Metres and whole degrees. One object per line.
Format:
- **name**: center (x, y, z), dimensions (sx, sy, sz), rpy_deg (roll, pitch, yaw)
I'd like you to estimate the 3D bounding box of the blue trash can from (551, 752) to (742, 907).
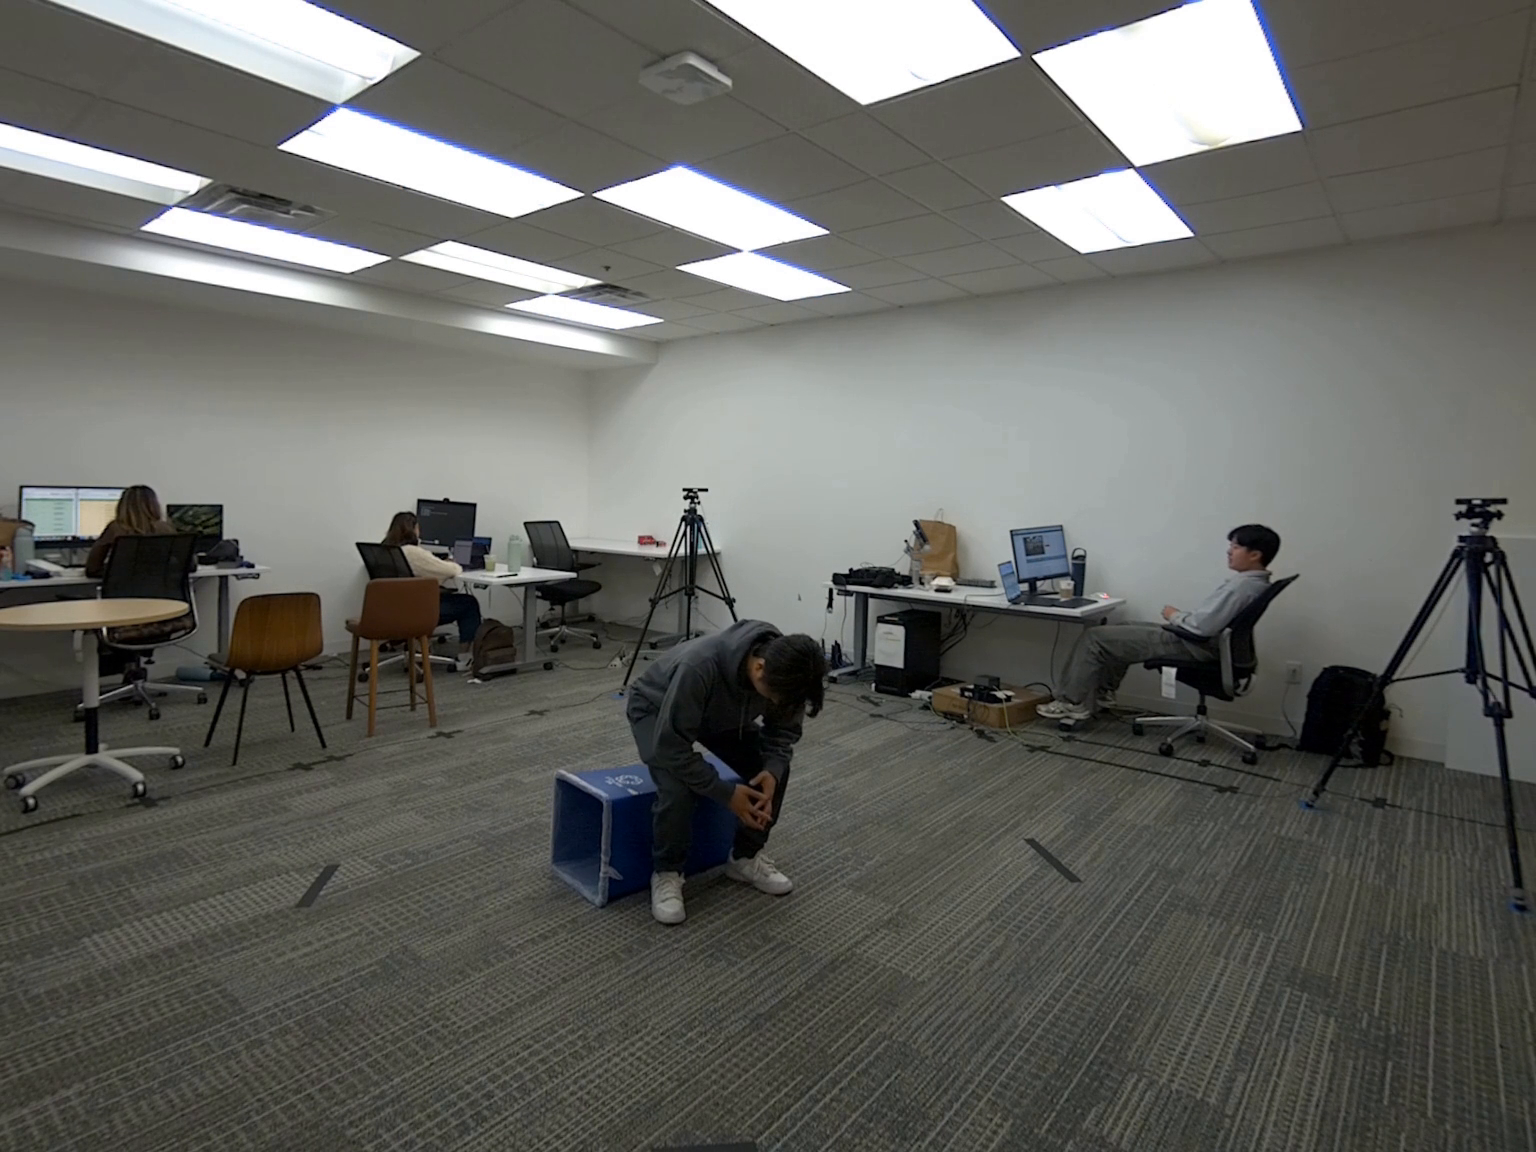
- **blue trash can**: center (-0.413, 0.893, 3.156), dimensions (0.691, 0.378, 0.387), rpy_deg (1, 3, -41)
